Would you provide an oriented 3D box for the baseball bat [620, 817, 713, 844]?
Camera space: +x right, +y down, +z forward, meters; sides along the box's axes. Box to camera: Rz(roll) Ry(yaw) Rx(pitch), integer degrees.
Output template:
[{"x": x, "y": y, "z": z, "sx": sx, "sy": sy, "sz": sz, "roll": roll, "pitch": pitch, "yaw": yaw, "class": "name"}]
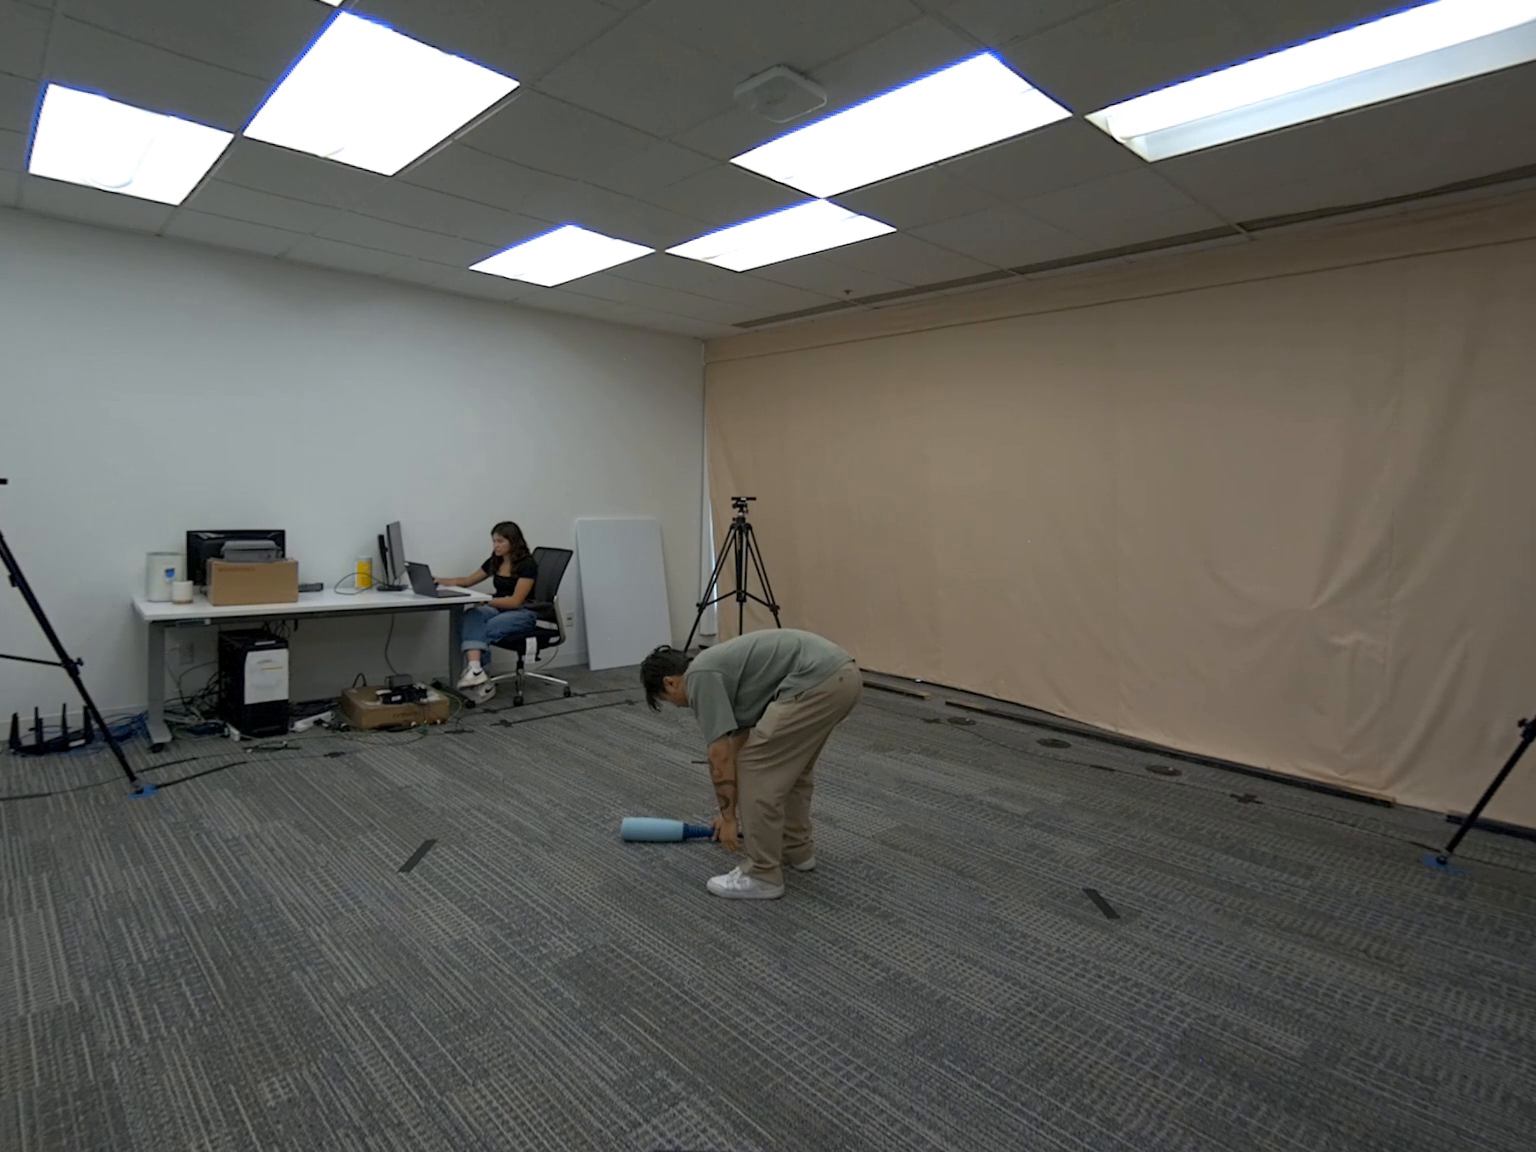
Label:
[{"x": -0.329, "y": 1.033, "z": 3.410, "sx": 0.542, "sy": 0.089, "sz": 0.089, "roll": 3, "pitch": 4, "yaw": -1, "class": "baseball bat"}]
